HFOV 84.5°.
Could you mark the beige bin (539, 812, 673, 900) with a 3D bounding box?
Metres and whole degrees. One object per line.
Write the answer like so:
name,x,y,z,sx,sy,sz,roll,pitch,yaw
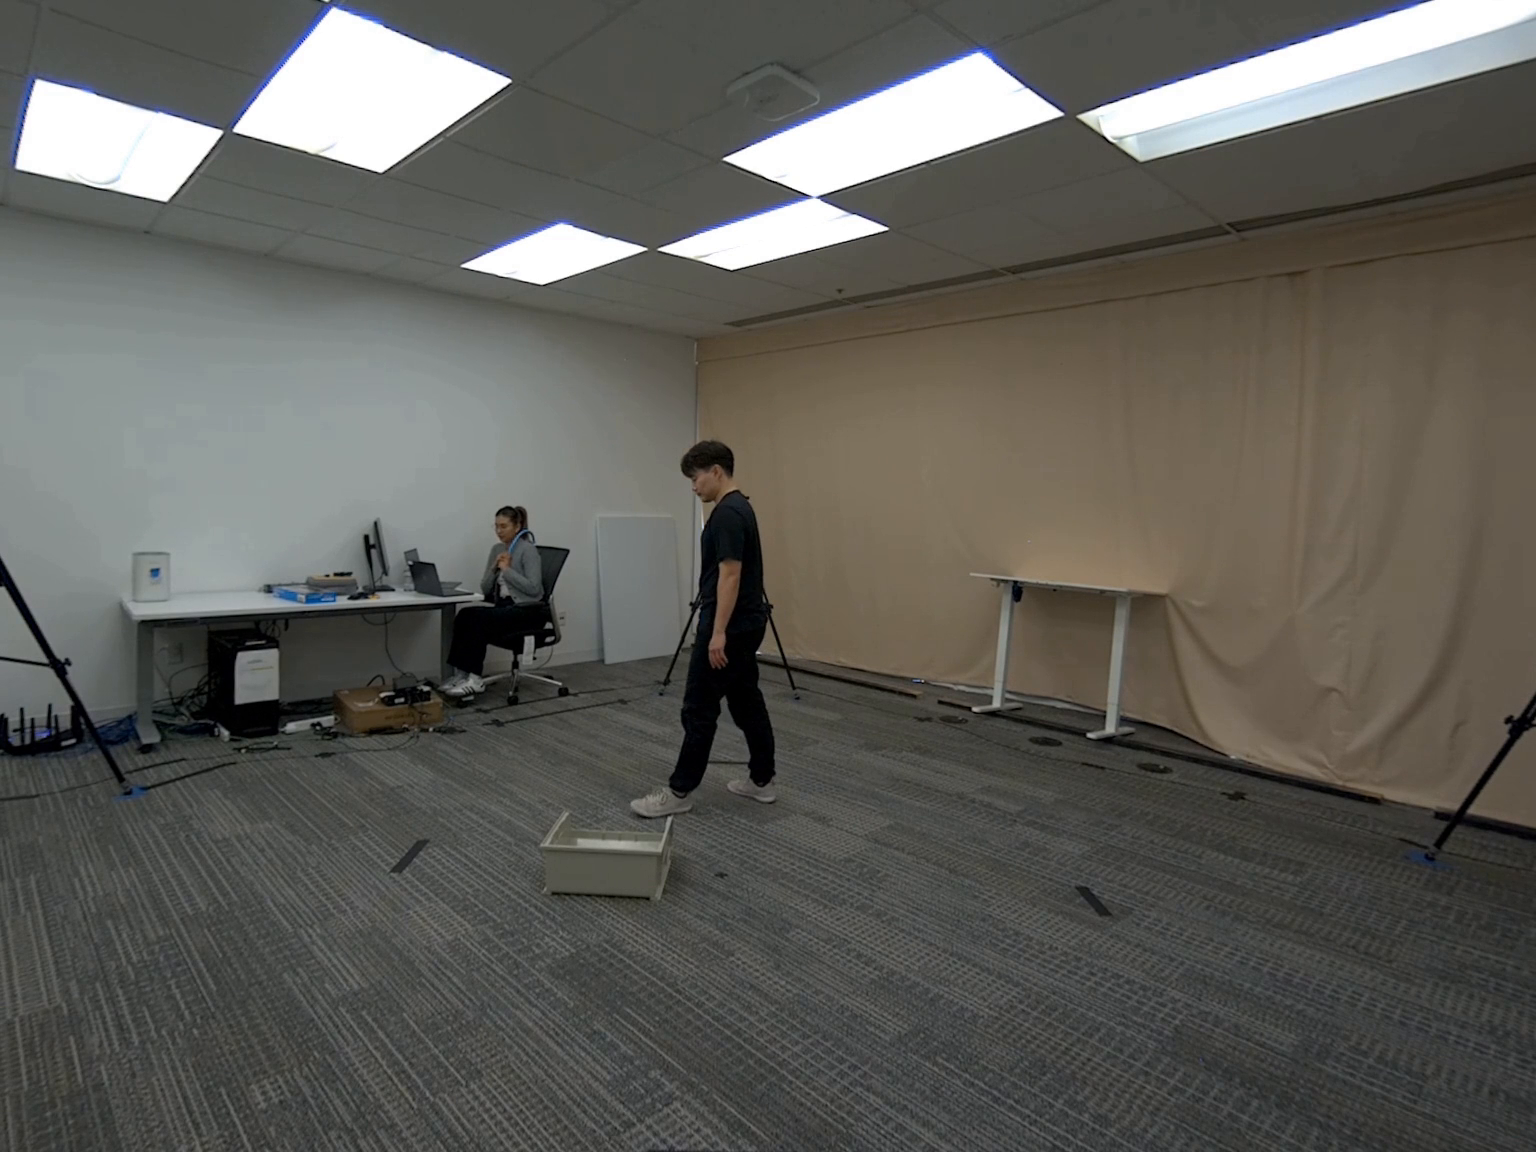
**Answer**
beige bin,-0.585,1.012,3.073,0.423,0.188,0.378,3,6,1
